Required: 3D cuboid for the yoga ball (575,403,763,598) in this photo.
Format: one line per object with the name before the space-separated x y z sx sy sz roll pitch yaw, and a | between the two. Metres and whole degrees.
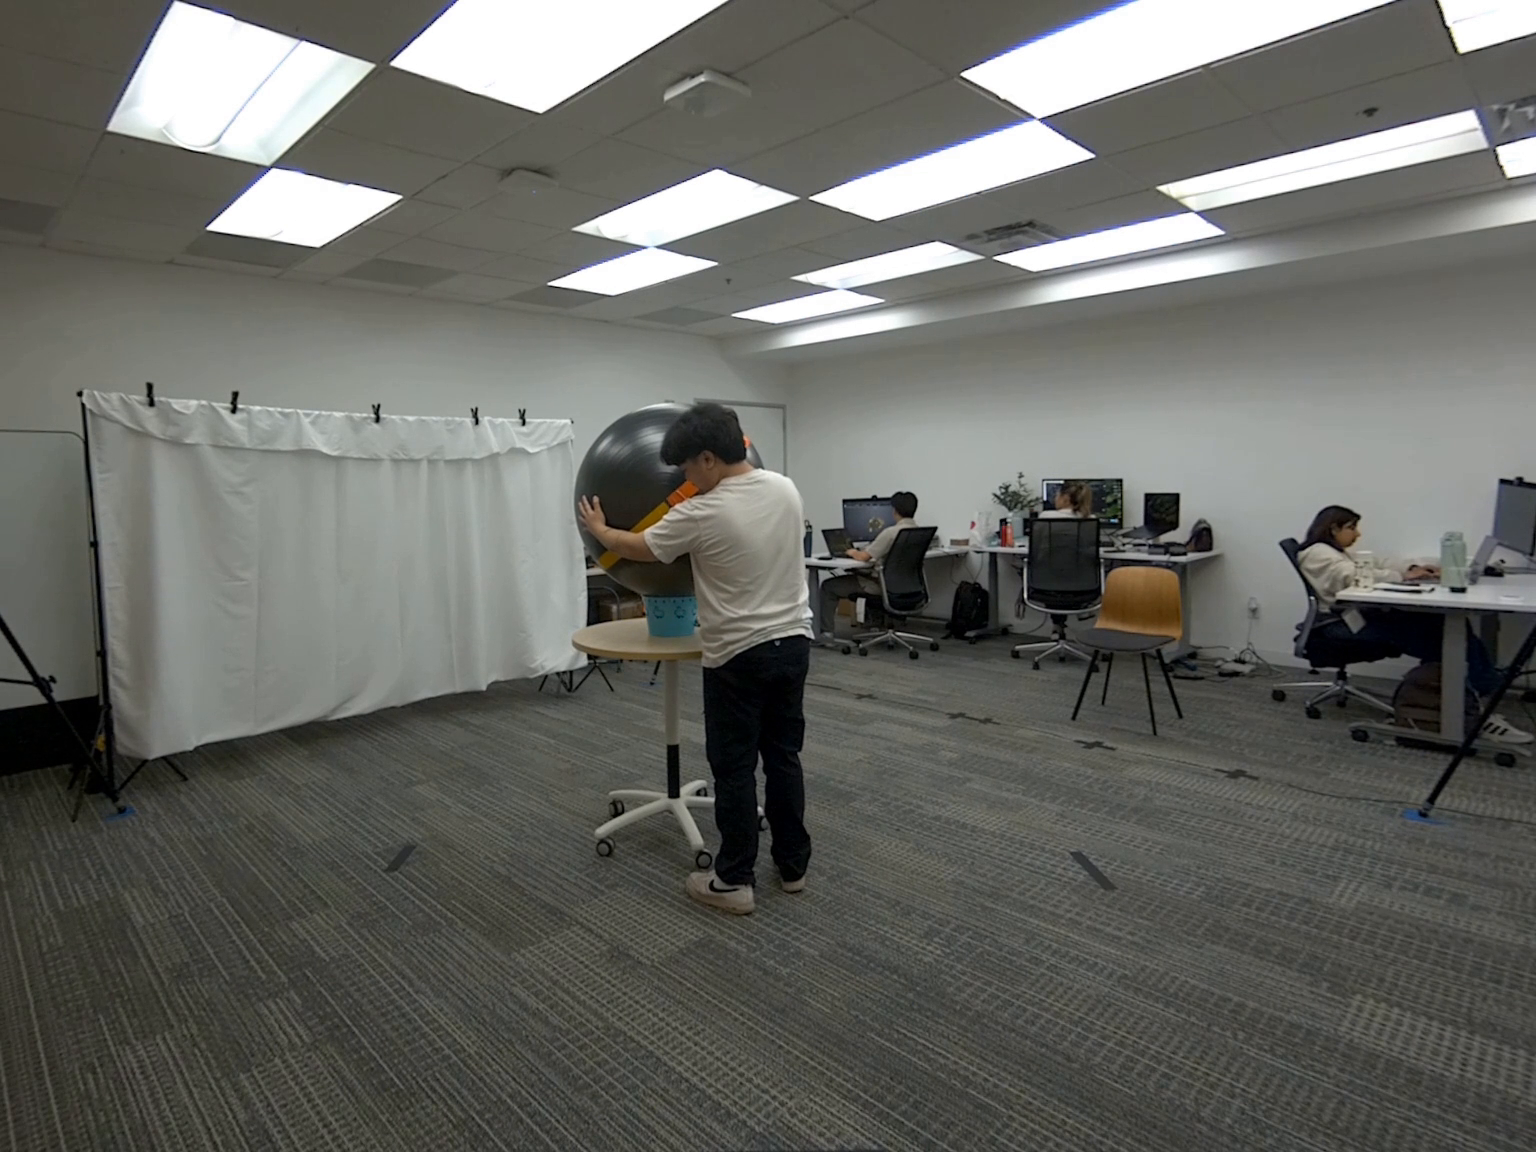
yoga ball | -0.375 -0.289 3.331 0.757 0.755 0.762 -1 5 -2
